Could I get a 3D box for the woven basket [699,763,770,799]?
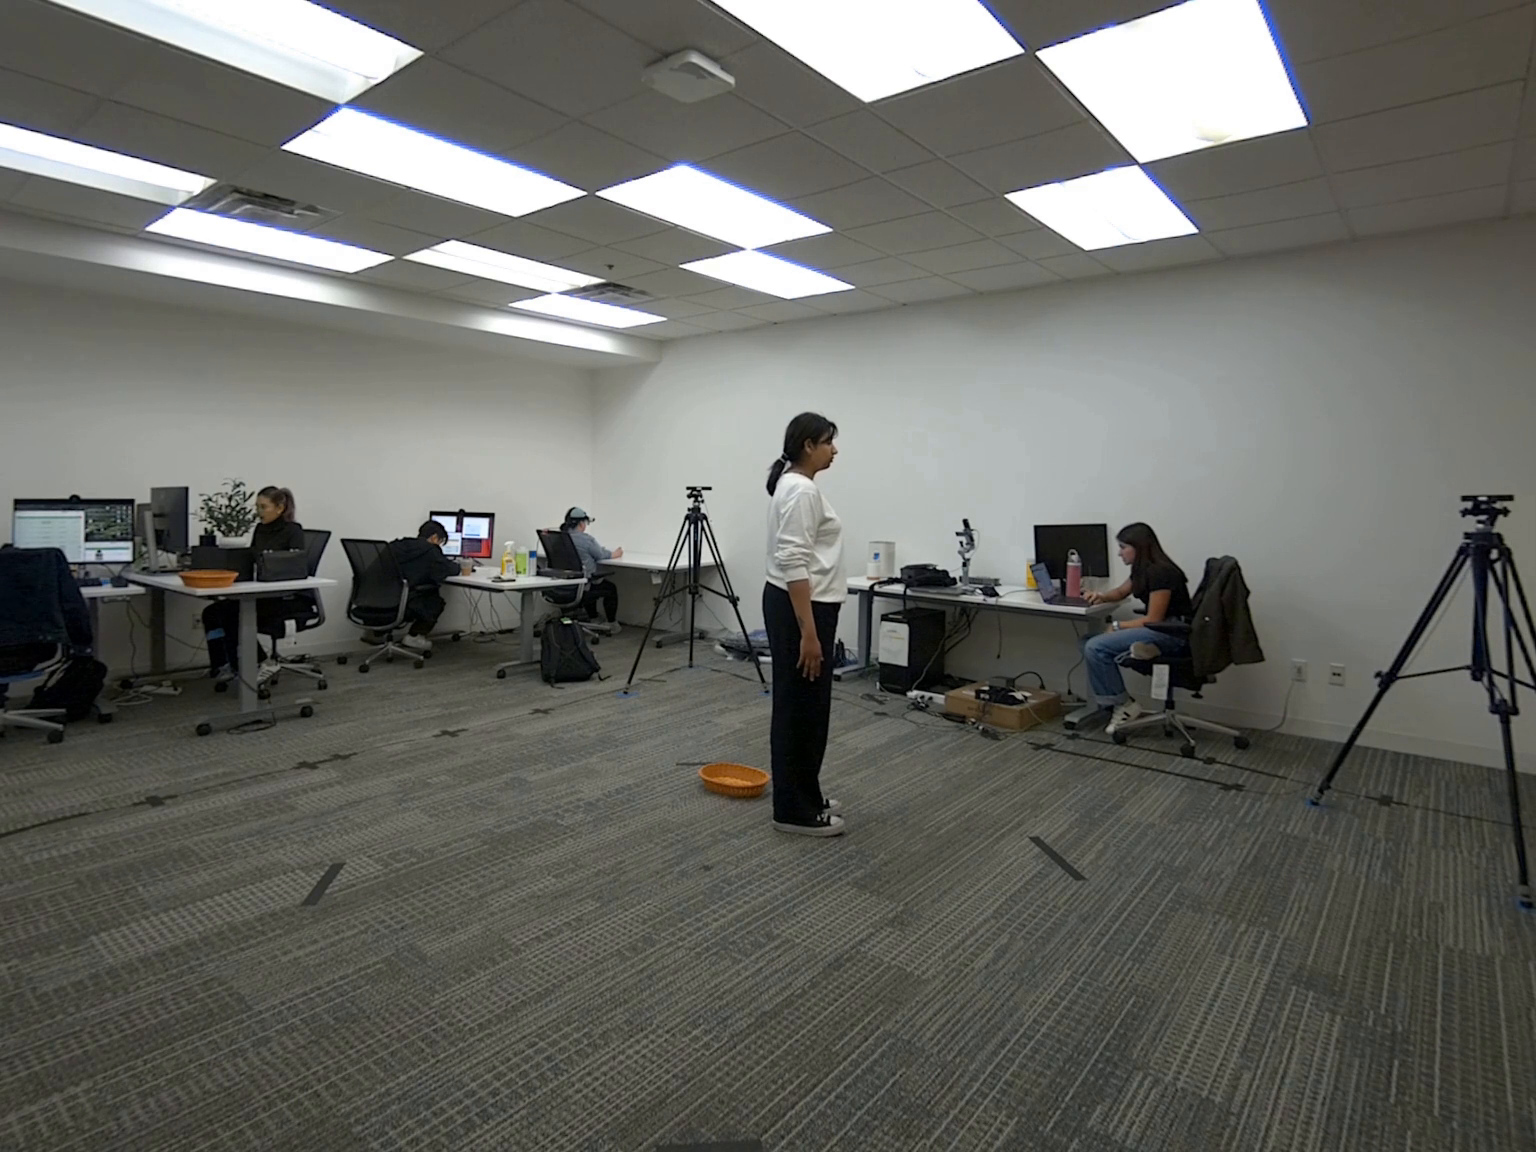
[{"bbox_3d":[-0.165,0.946,3.932,0.362,0.073,0.245,5,8,35],"label":"woven basket"}]
